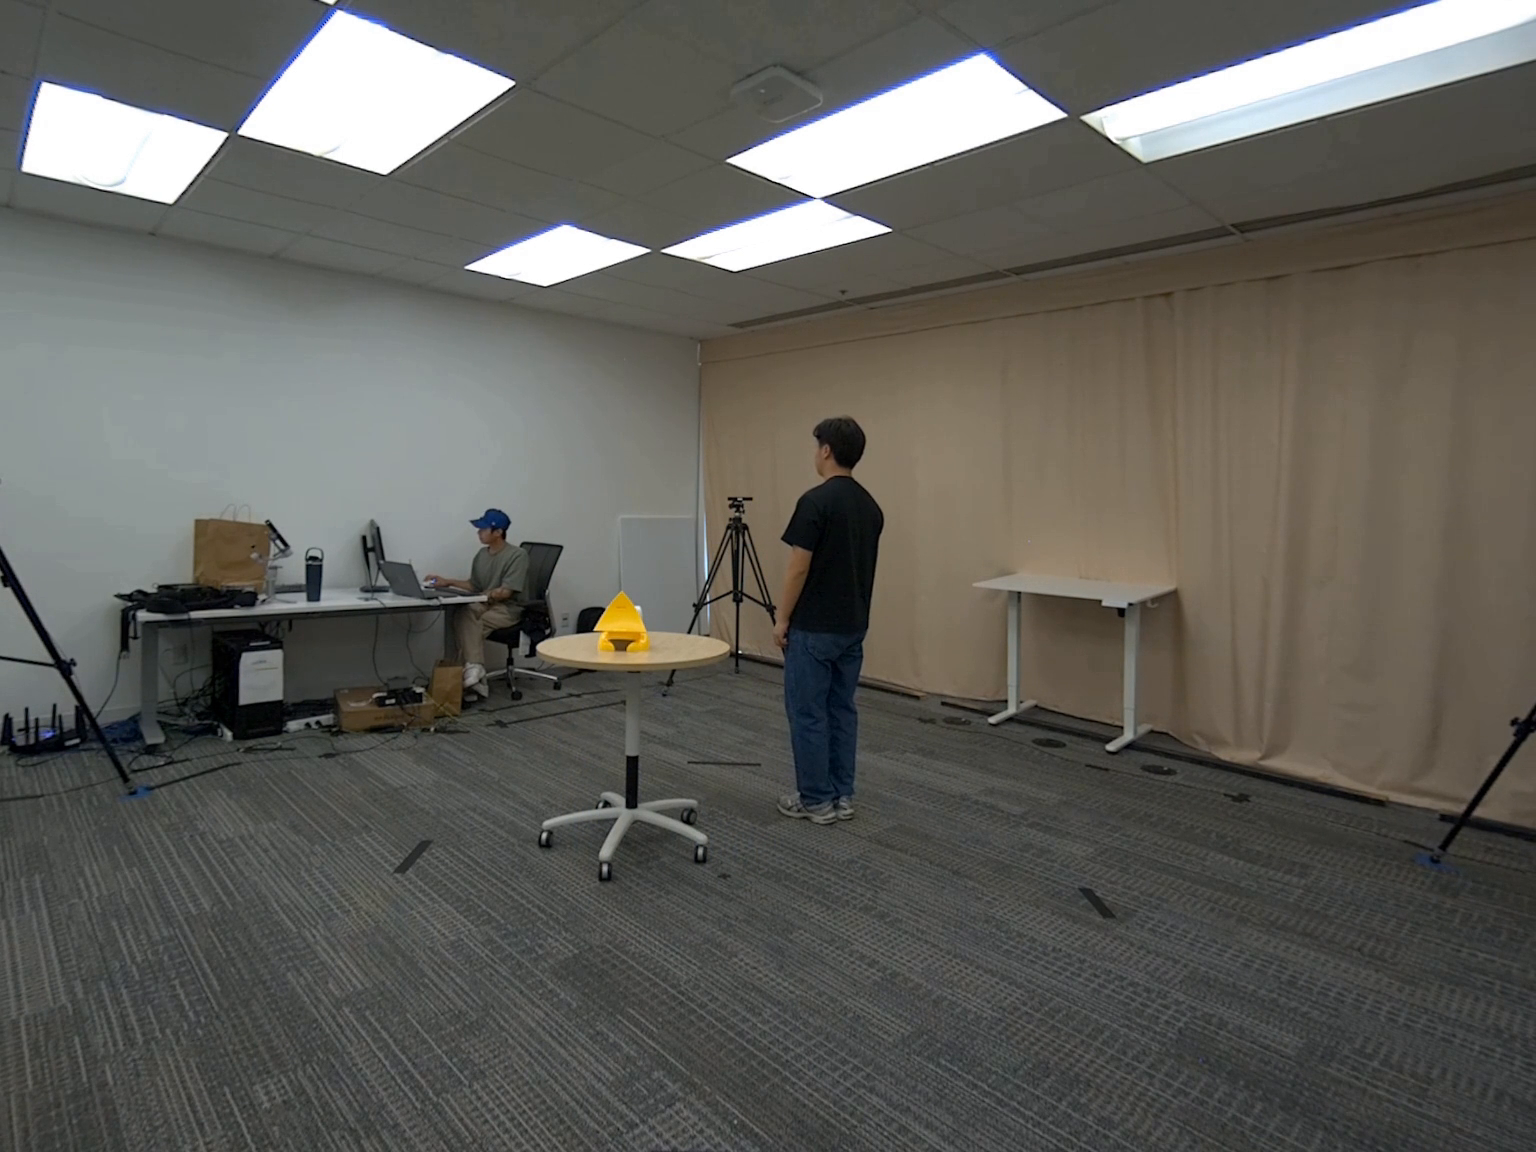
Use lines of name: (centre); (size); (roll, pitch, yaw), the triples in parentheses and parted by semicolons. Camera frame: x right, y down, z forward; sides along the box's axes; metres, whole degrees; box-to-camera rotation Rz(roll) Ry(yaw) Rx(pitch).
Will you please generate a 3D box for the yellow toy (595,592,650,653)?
yellow toy: (-0.571, 0.168, 3.301); (0.205, 0.230, 0.193); (2, 5, 2)
